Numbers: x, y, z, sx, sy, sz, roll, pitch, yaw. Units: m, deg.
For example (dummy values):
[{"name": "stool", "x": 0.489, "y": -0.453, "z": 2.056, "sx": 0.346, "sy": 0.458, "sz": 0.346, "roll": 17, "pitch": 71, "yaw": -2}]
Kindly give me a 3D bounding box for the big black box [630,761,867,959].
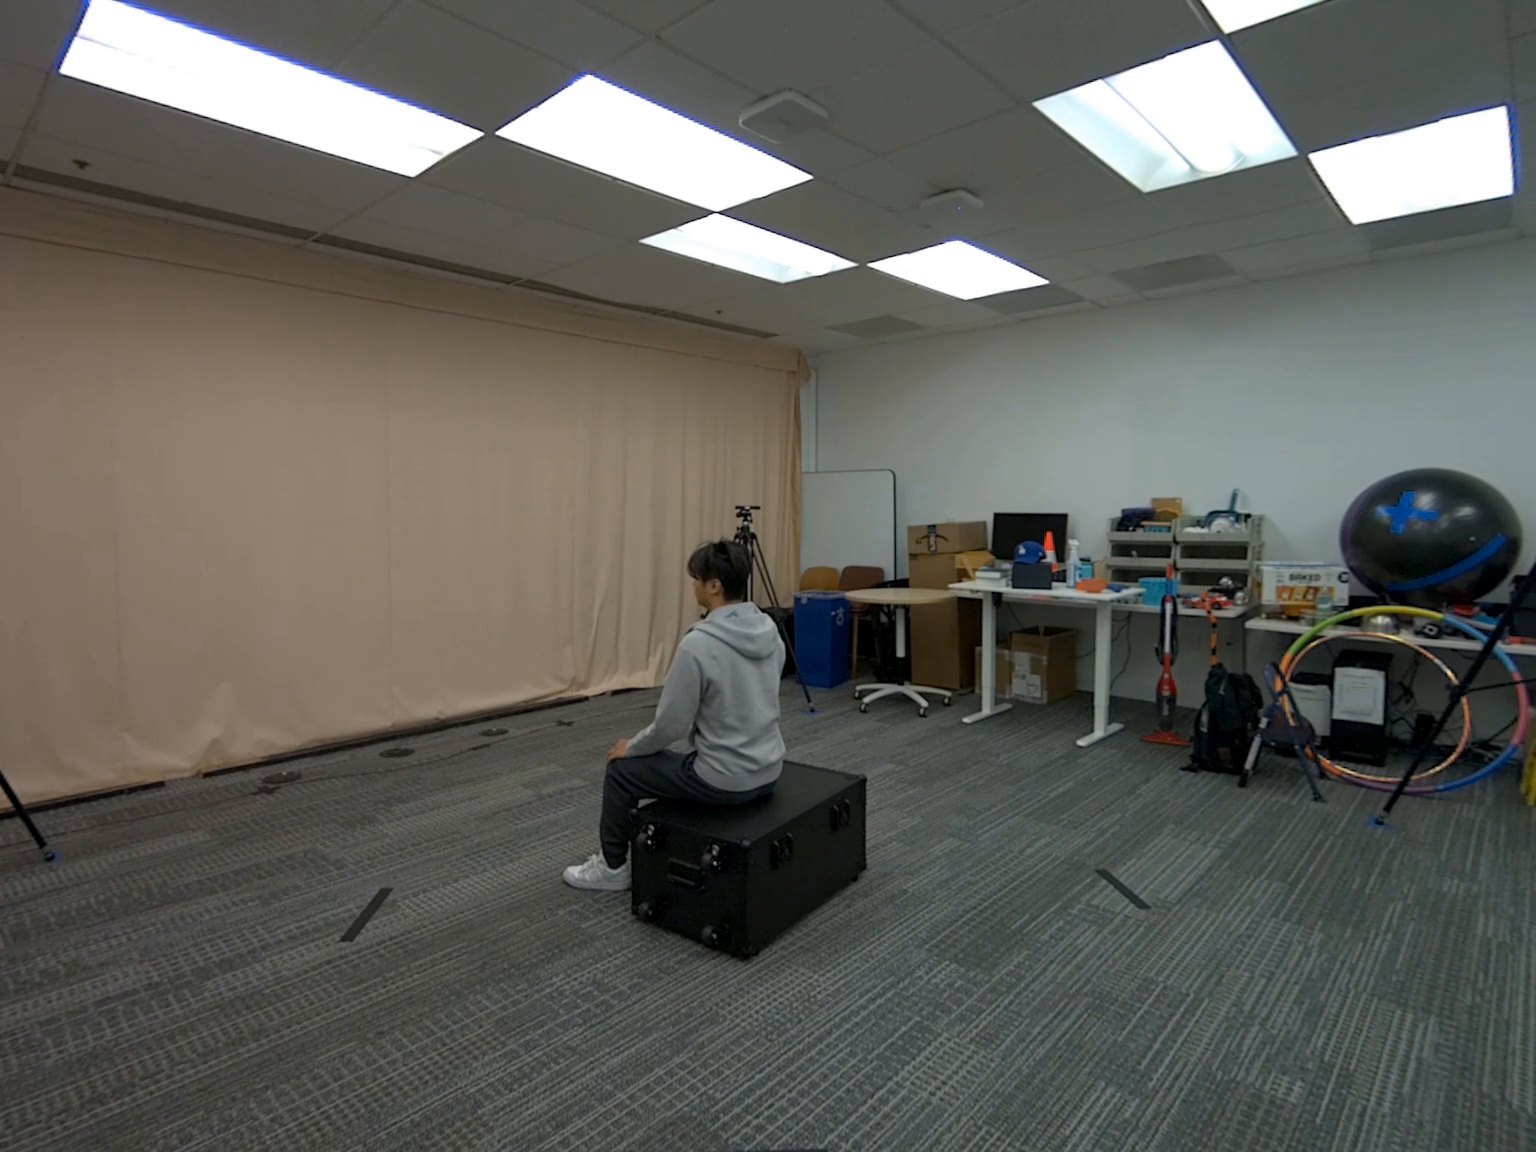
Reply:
[{"name": "big black box", "x": -0.020, "y": 0.957, "z": 3.011, "sx": 0.538, "sy": 0.395, "sz": 0.837, "roll": 3, "pitch": 6, "yaw": 35}]
